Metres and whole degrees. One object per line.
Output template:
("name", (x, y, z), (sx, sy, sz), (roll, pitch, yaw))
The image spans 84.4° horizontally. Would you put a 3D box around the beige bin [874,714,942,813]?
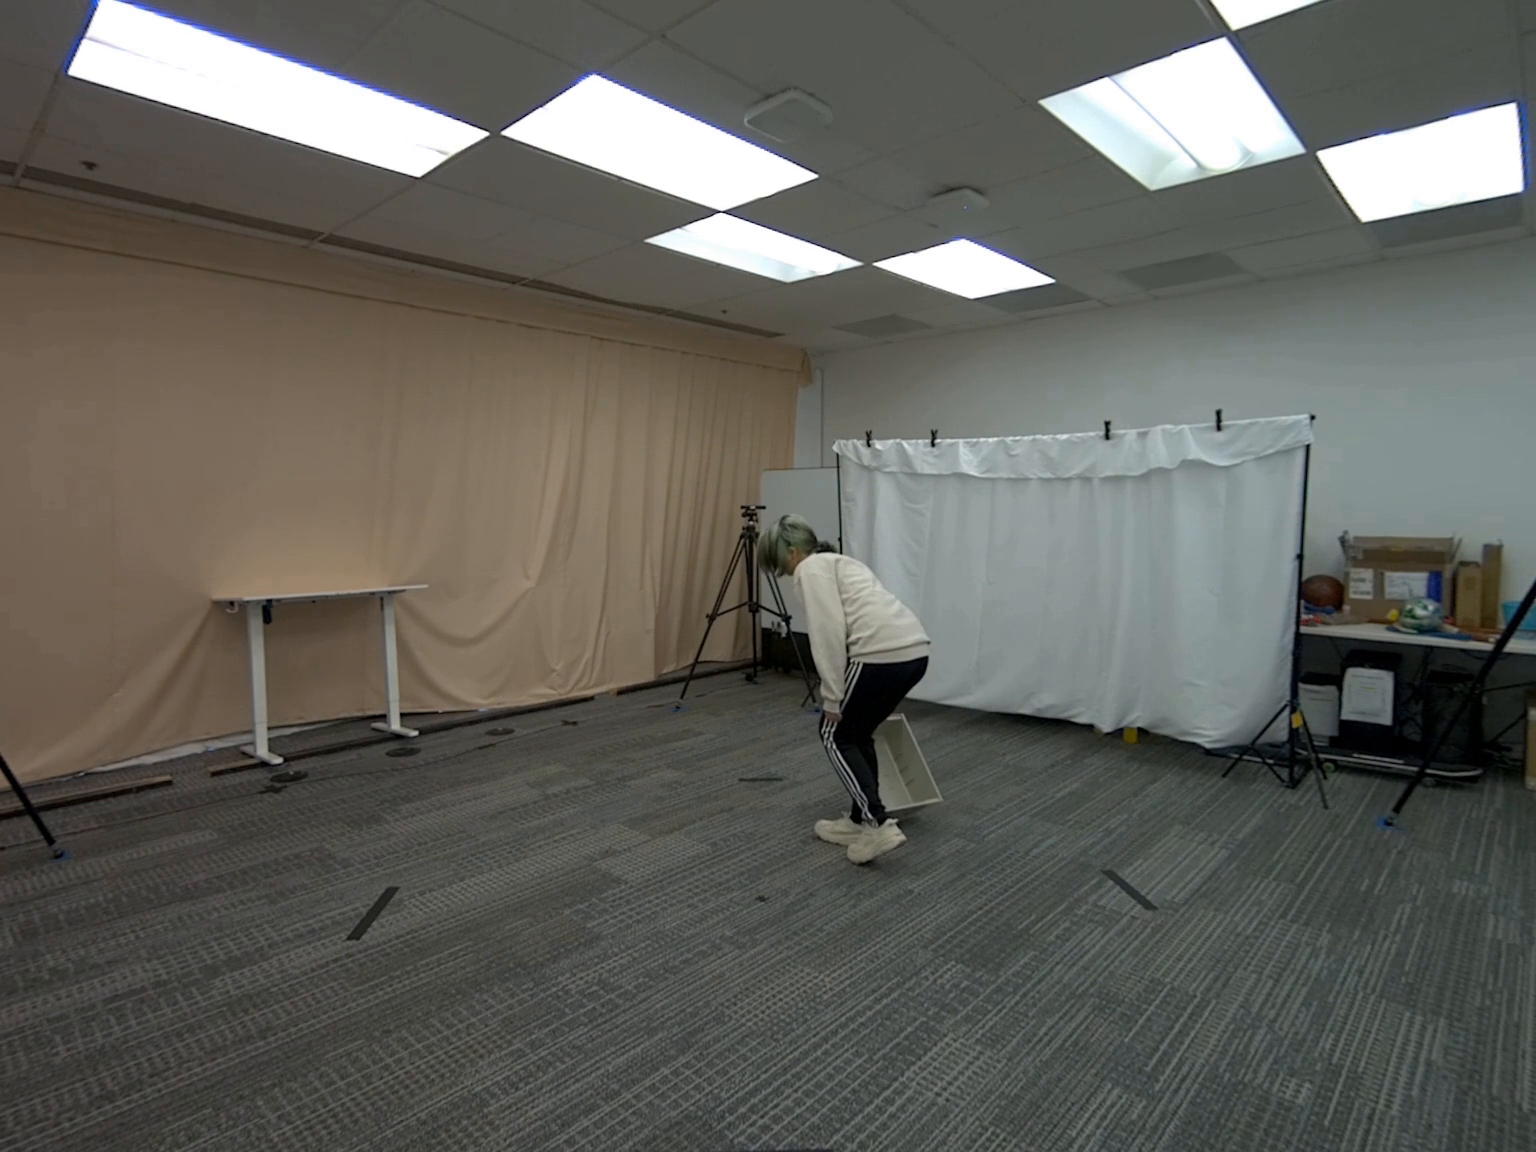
("beige bin", (0.504, 0.861, 3.741), (0.367, 0.433, 0.189), (0, -38, -31))
